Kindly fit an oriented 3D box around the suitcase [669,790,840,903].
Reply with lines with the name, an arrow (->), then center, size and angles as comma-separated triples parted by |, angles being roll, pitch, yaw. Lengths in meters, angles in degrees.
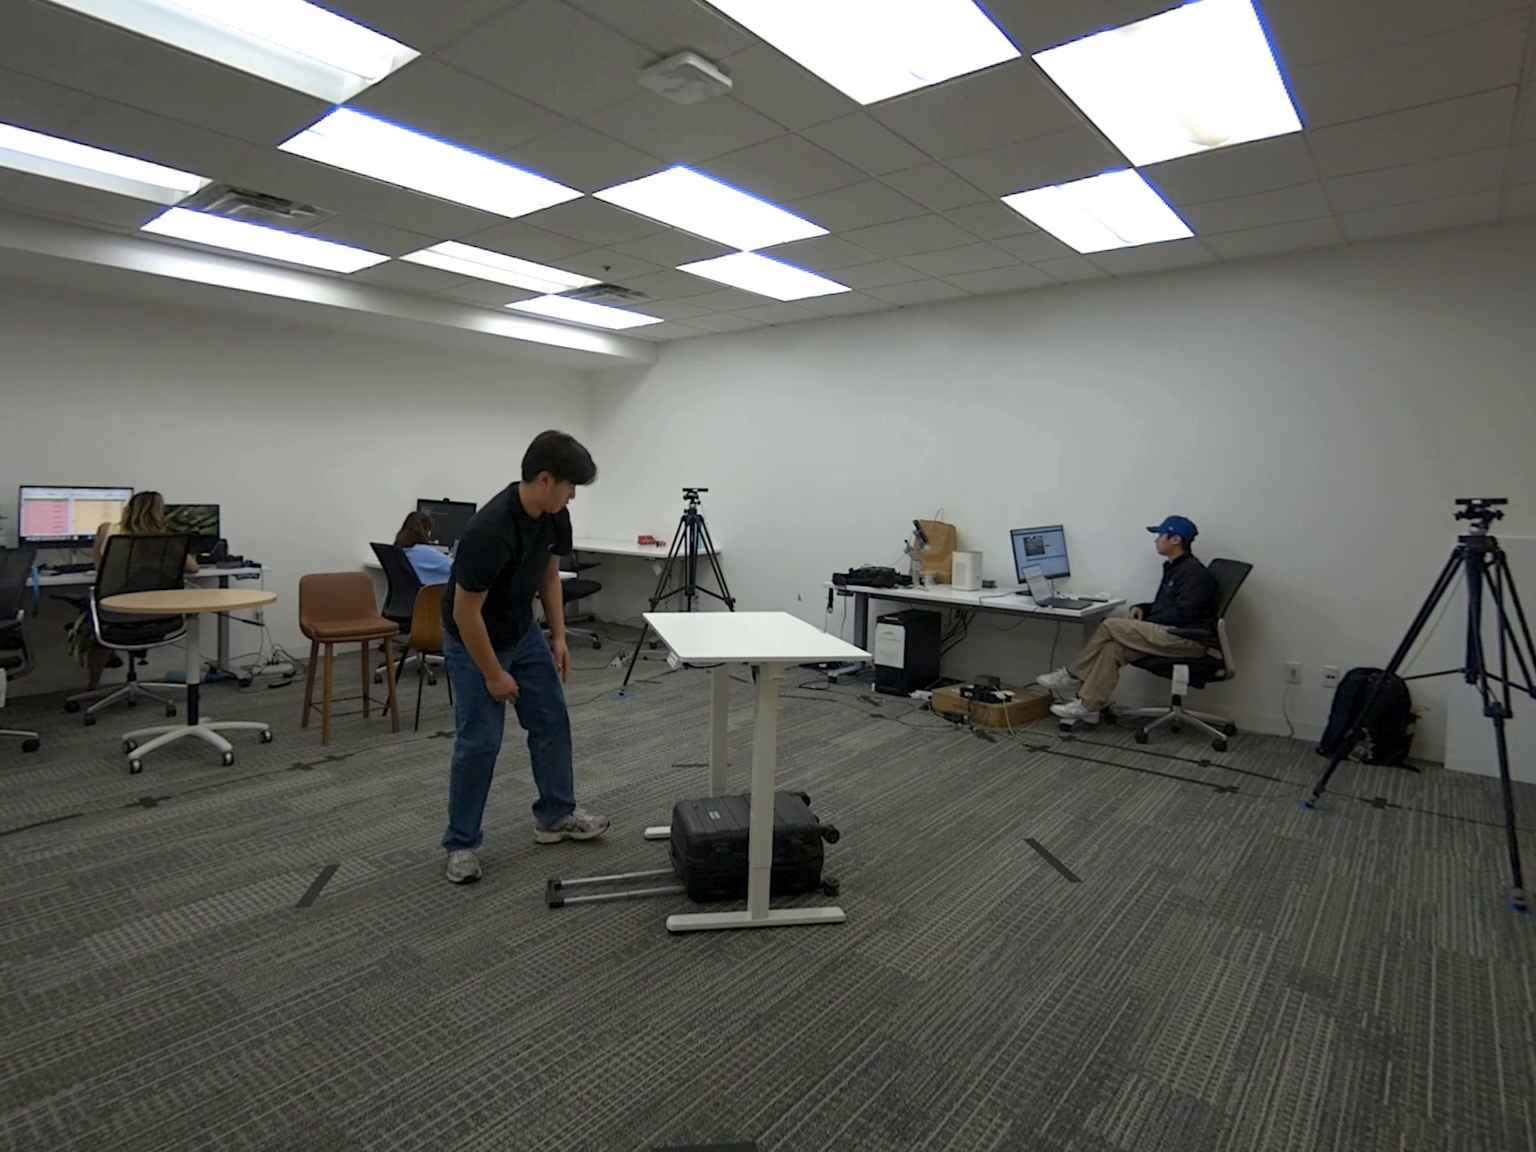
suitcase -> -0.276, 0.950, 2.984 | 0.964, 0.256, 0.392 | 0, 7, -14
